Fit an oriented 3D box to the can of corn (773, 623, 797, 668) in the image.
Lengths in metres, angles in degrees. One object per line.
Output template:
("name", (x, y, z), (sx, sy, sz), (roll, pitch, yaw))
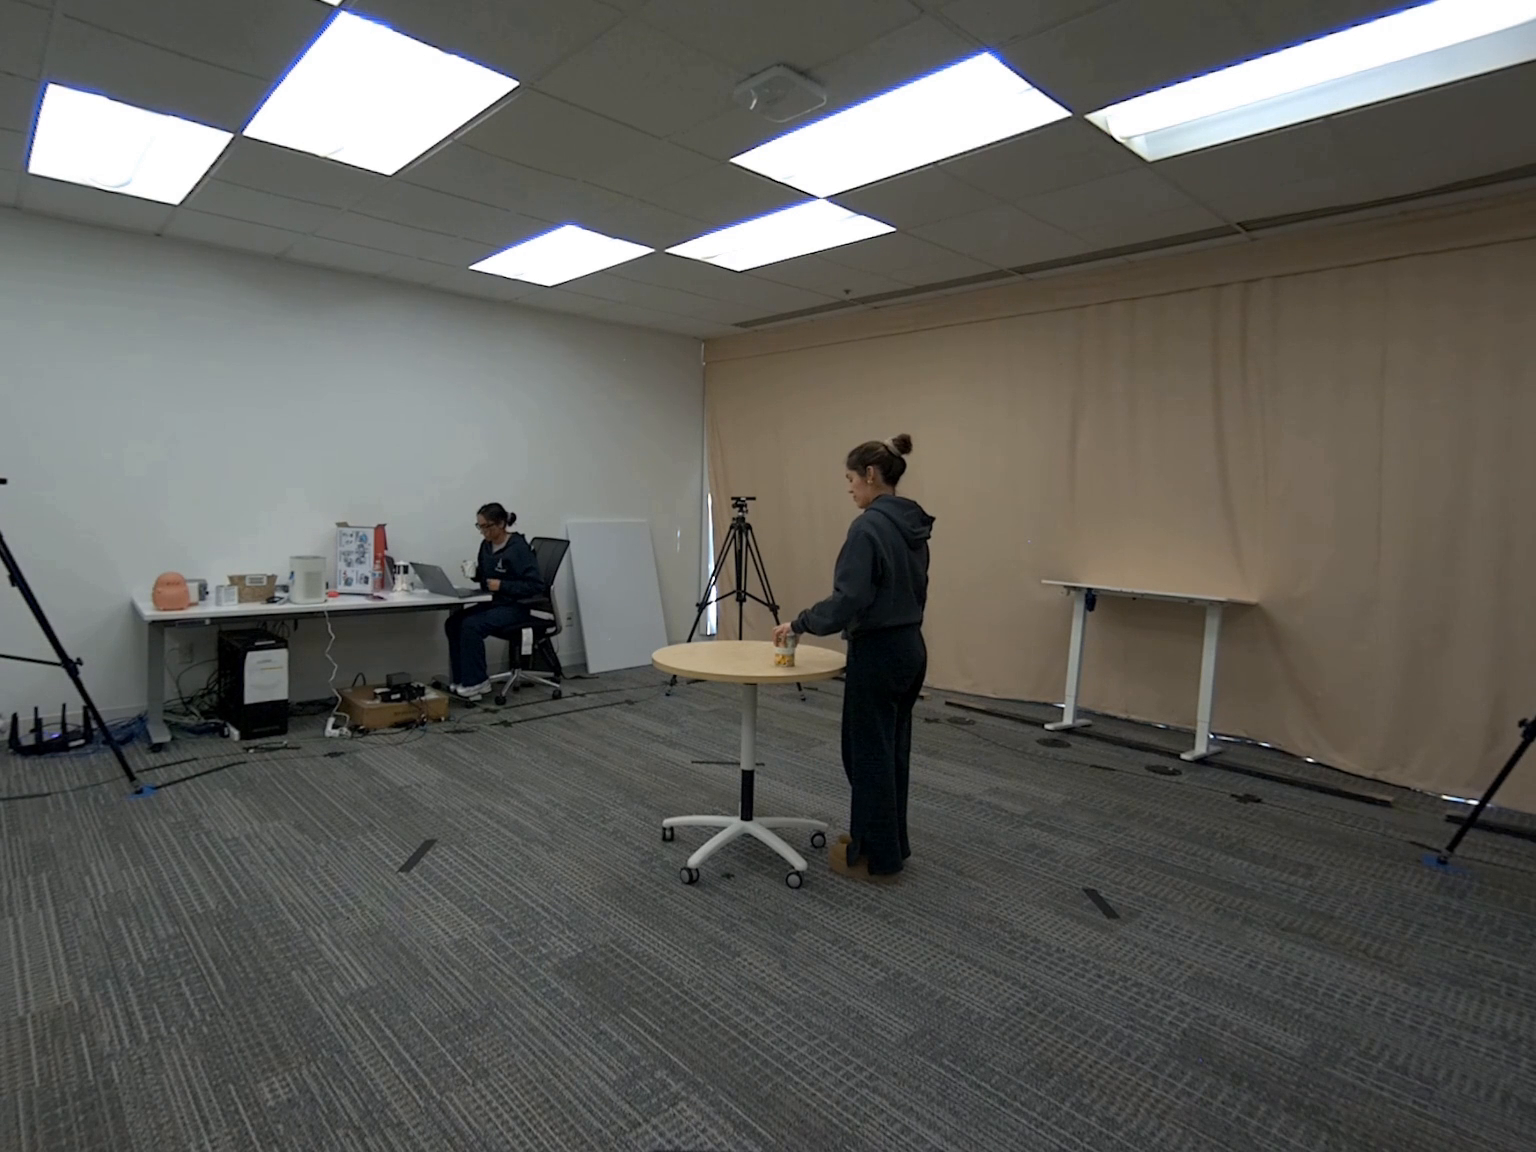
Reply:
("can of corn", (0.055, 0.266, 3.098), (0.074, 0.110, 0.075), (3, 9, -2))
